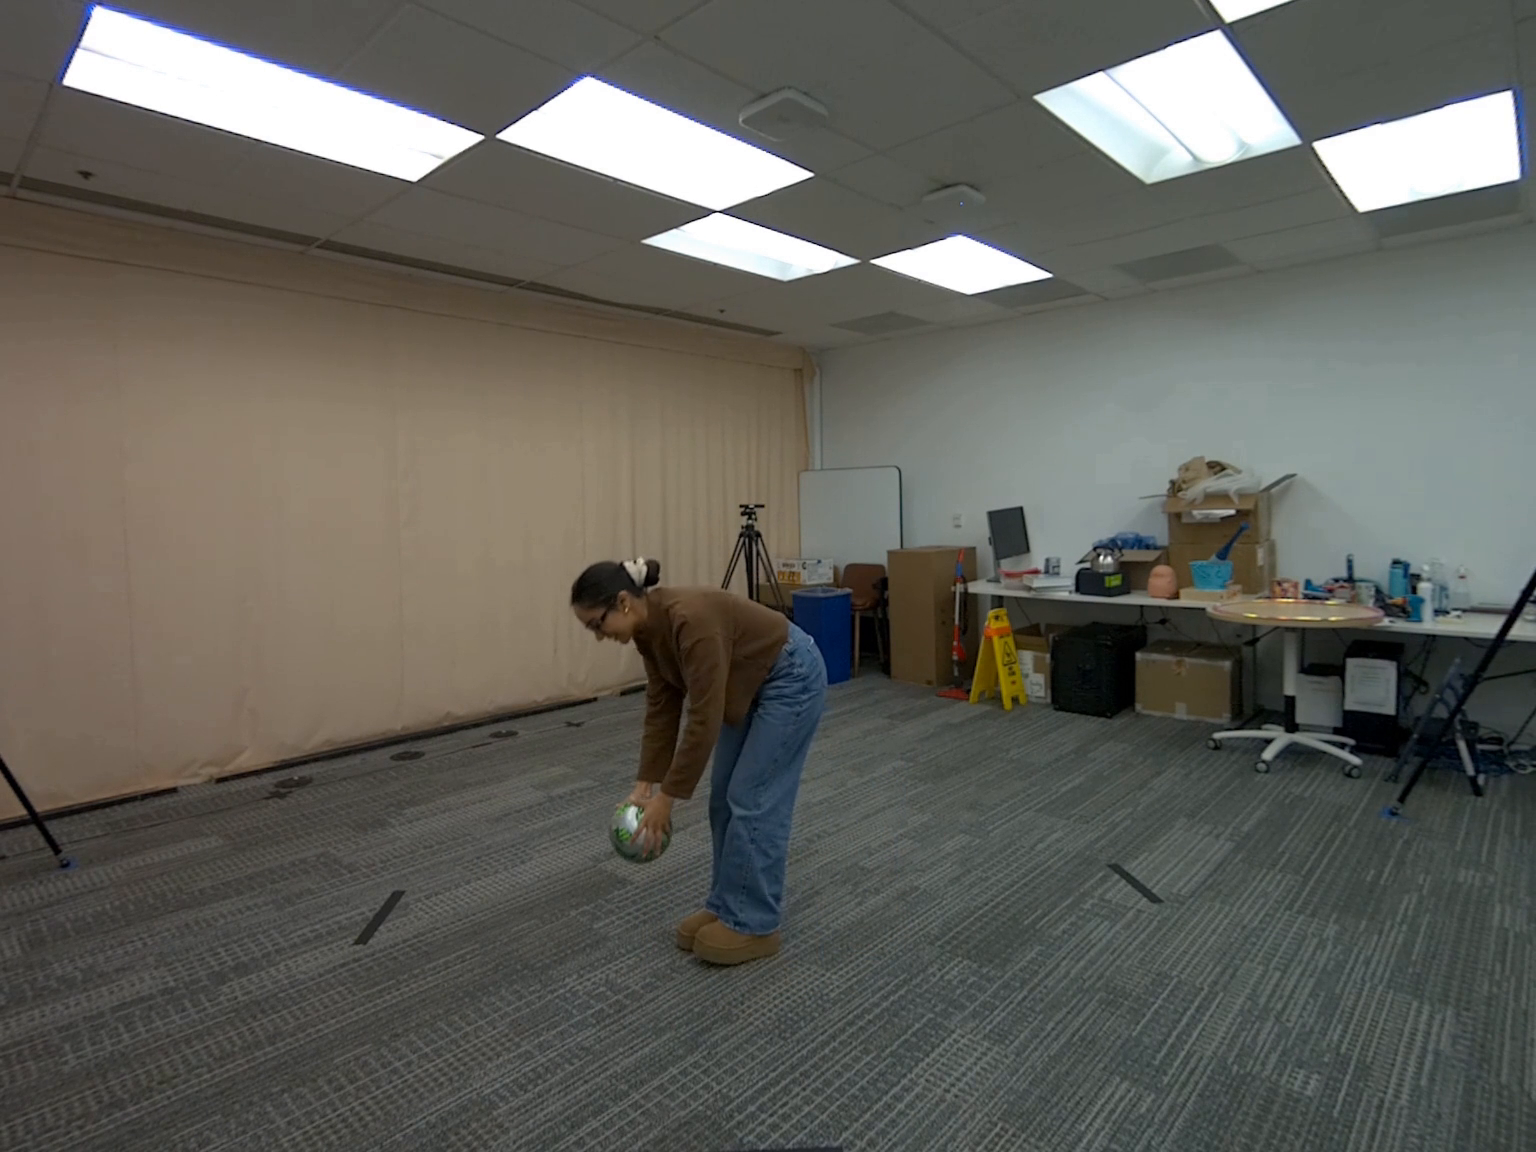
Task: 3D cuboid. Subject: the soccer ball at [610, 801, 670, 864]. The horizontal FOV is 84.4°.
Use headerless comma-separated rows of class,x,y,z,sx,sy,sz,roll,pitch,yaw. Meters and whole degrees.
soccer ball,-0.369,0.735,2.484,0.187,0.187,0.188,-1,4,-2
